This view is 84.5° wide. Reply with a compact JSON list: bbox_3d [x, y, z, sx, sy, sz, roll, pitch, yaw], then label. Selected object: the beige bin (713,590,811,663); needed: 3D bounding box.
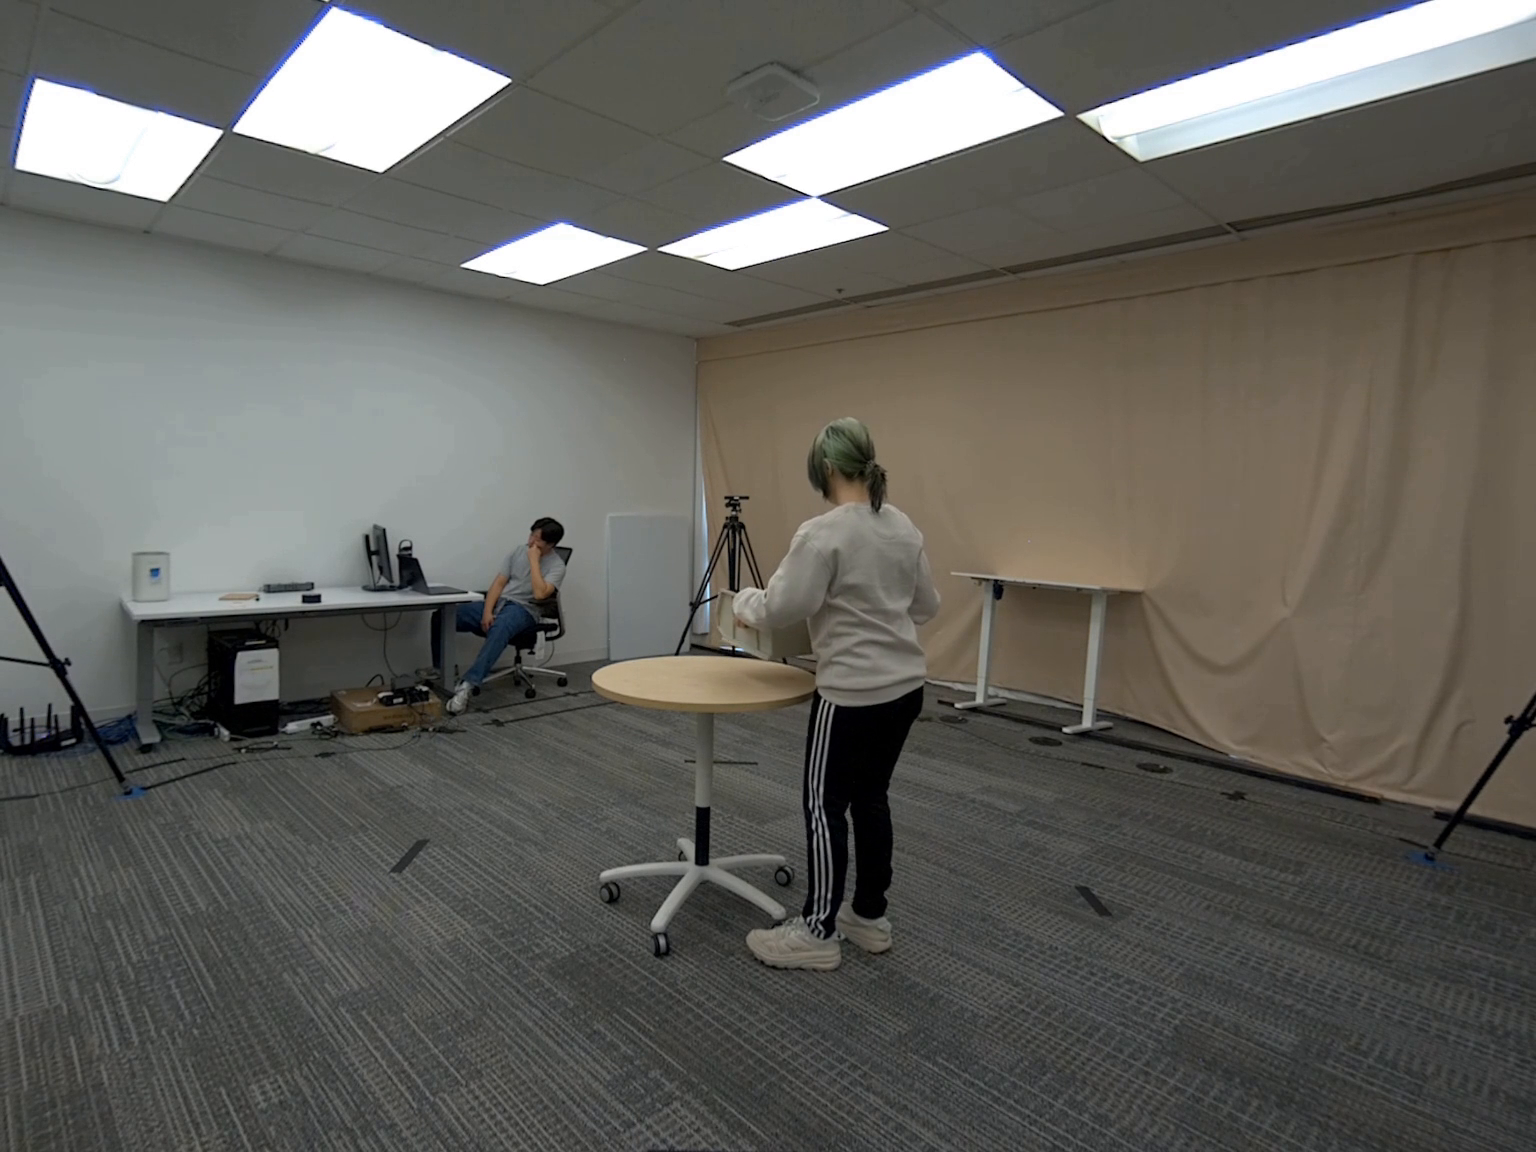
[{"bbox_3d":[0.081,0.150,2.867,0.414,0.188,0.386,-1,9,-27],"label":"beige bin"}]
